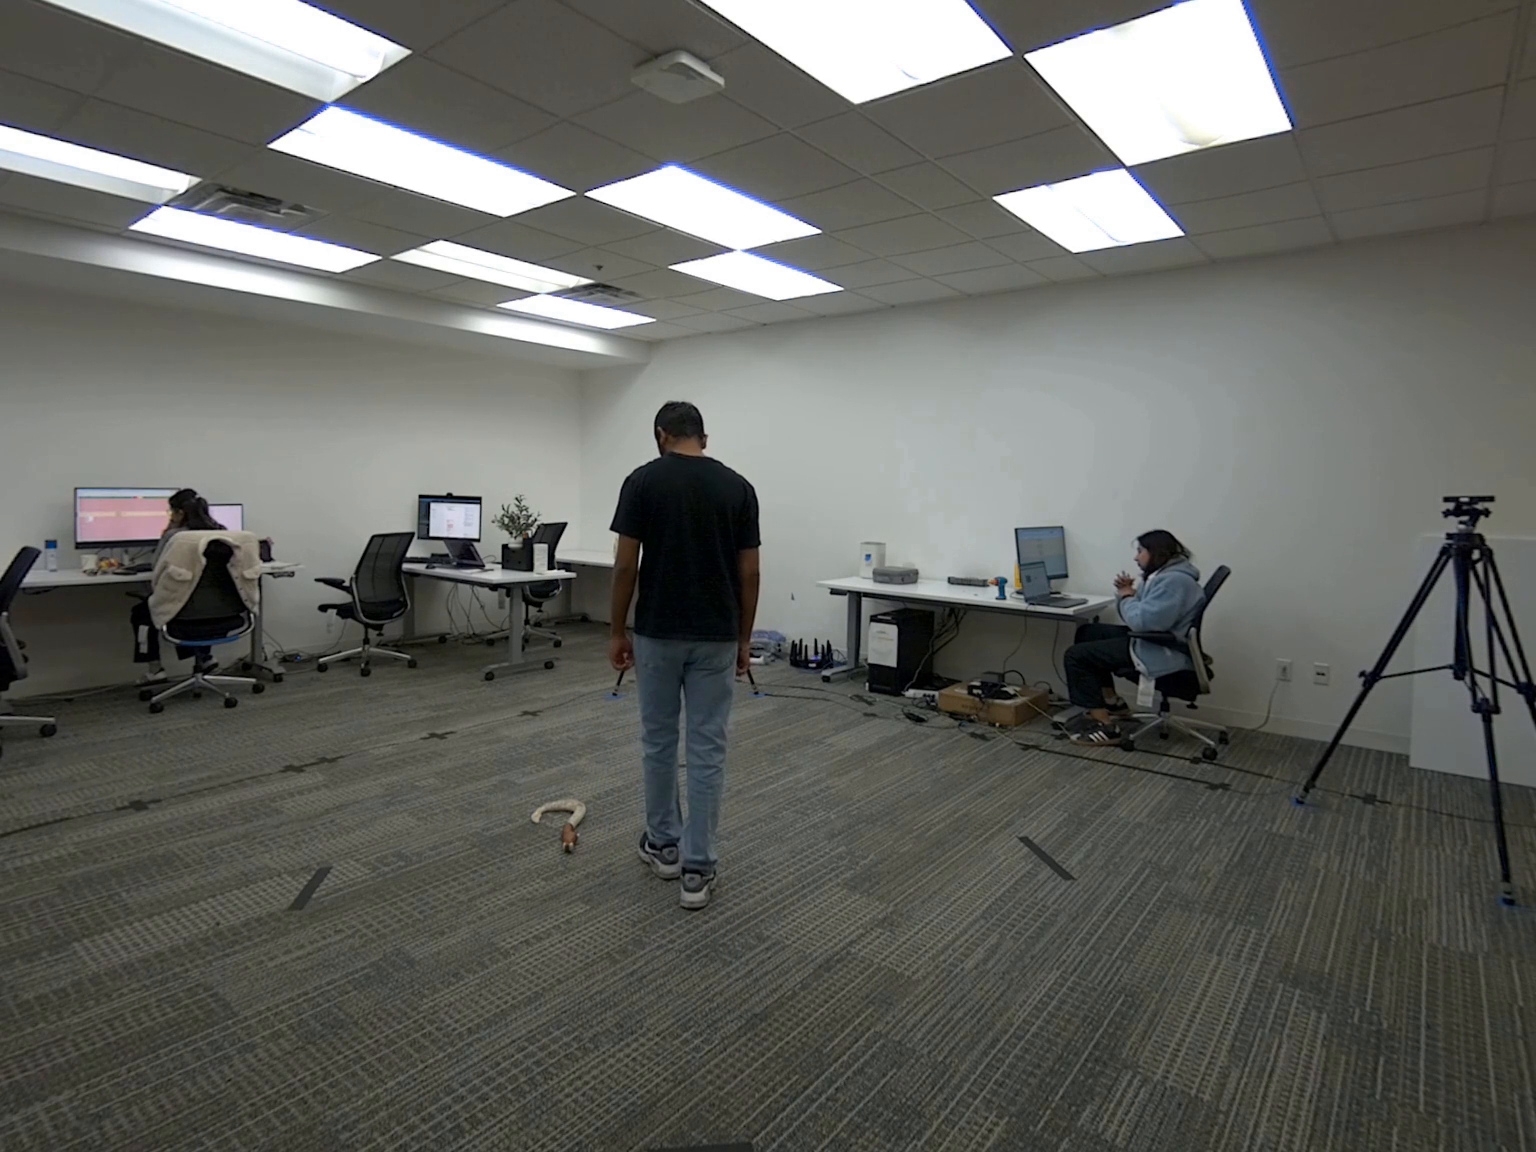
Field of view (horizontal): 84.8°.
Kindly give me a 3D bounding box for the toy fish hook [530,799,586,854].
[{"bbox_3d":[-0.864,1.009,3.453,0.223,0.048,0.514,-8,7,-10],"label":"toy fish hook"}]
